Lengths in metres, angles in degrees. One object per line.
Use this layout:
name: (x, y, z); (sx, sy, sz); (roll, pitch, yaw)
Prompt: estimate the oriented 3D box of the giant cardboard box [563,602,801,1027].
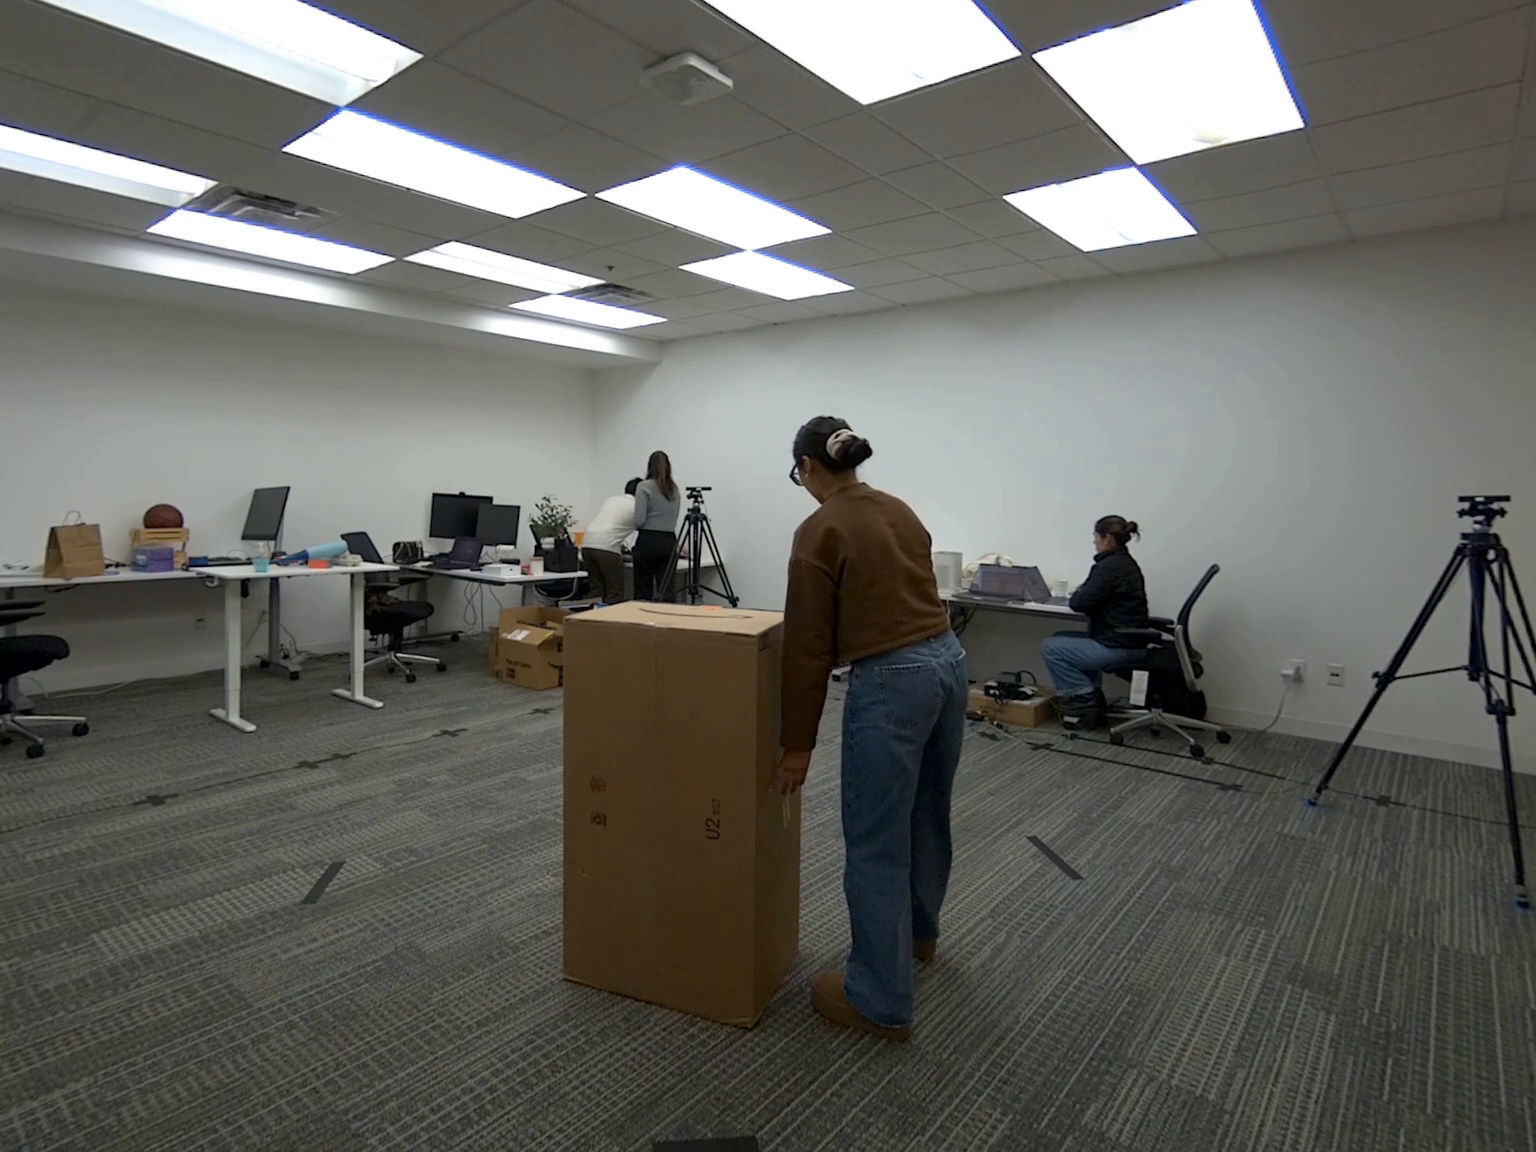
giant cardboard box: (-0.242, 0.621, 2.456); (0.591, 1.023, 0.418); (2, 3, 21)
